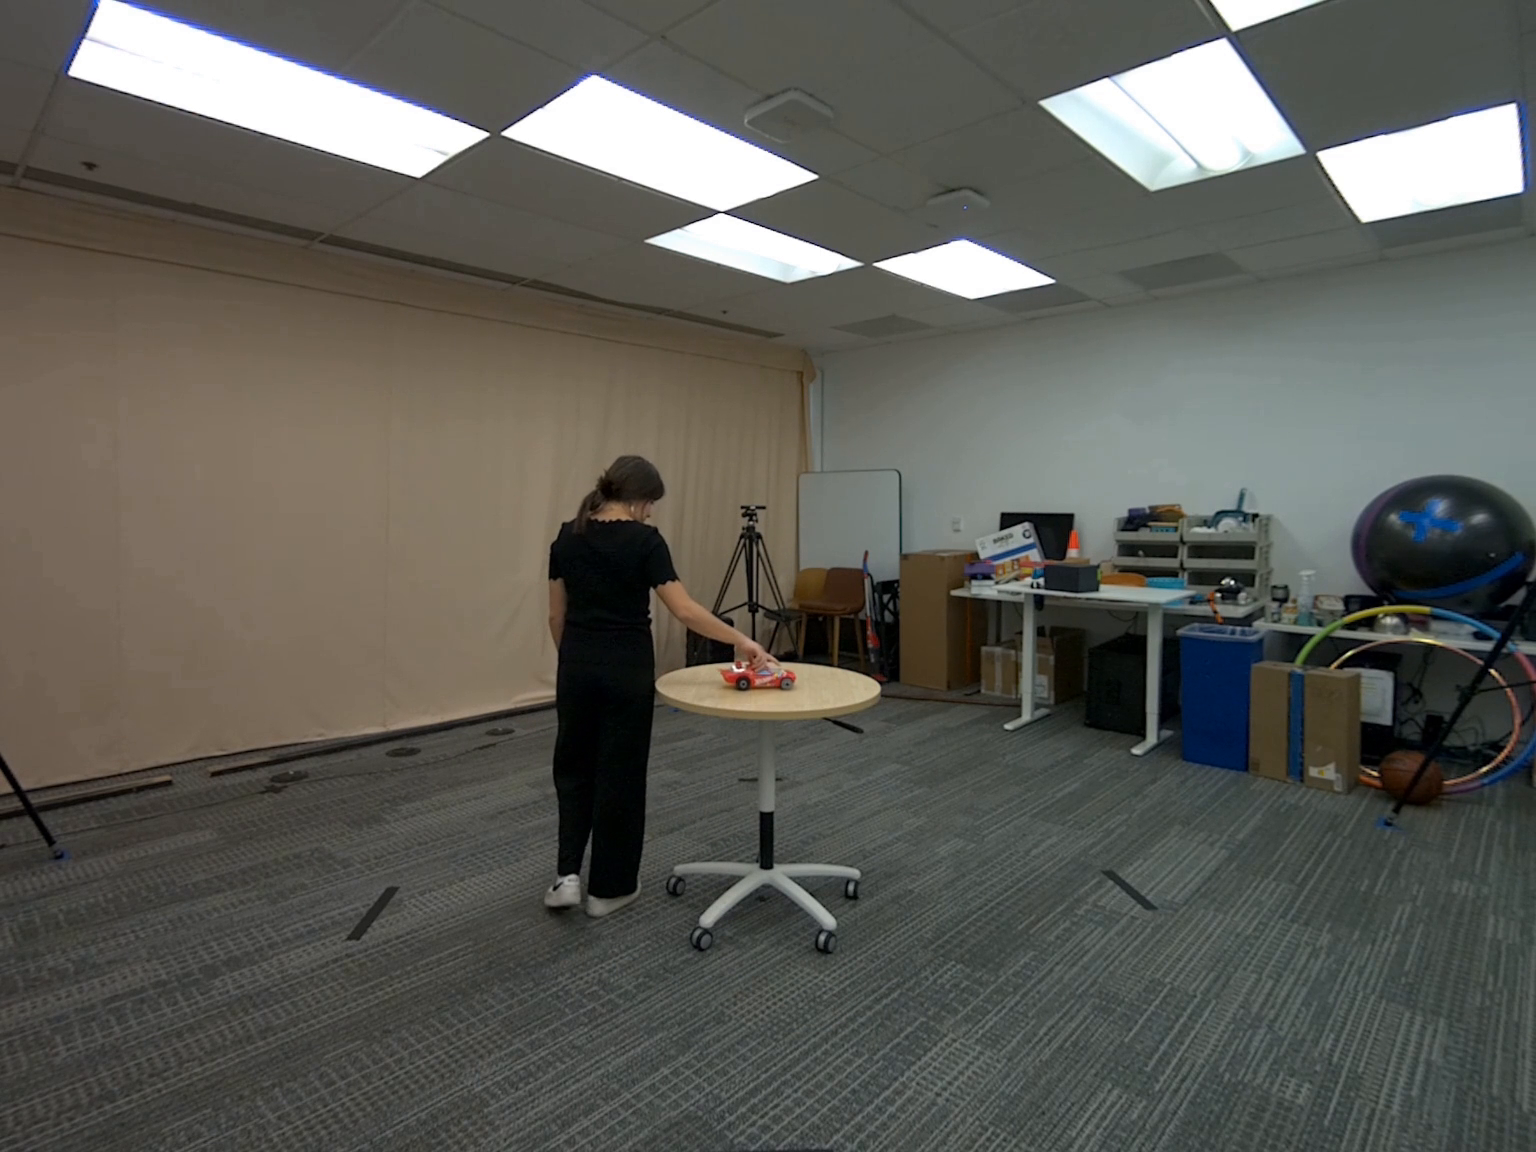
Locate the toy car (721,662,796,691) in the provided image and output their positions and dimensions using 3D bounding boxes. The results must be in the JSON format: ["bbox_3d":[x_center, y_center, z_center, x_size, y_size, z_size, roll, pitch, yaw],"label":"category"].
[{"bbox_3d":[-0.039,0.342,2.814,0.253,0.083,0.131,13,3,-6],"label":"toy car"}]
